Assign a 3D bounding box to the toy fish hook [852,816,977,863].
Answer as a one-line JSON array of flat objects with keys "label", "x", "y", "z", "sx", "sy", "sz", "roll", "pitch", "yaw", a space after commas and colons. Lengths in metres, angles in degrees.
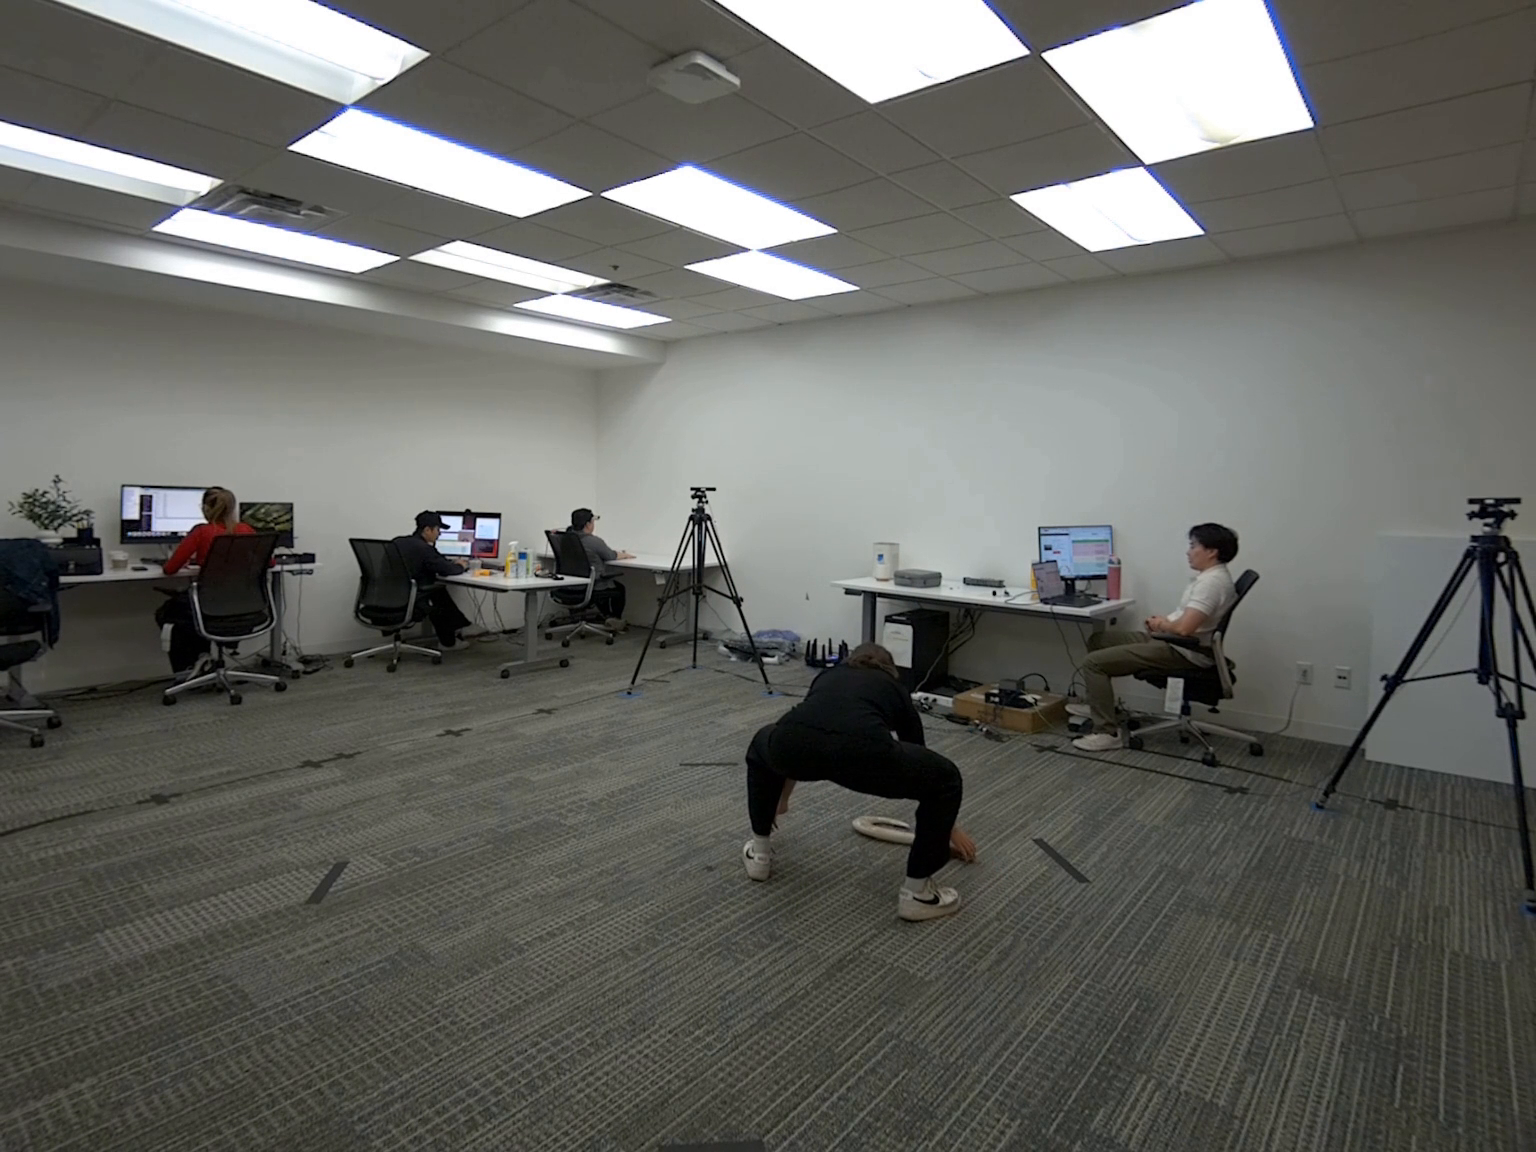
[{"label": "toy fish hook", "x": 0.575, "y": 1.032, "z": 3.409, "sx": 0.523, "sy": 0.048, "sz": 0.218, "roll": 6, "pitch": 8, "yaw": 34}]
